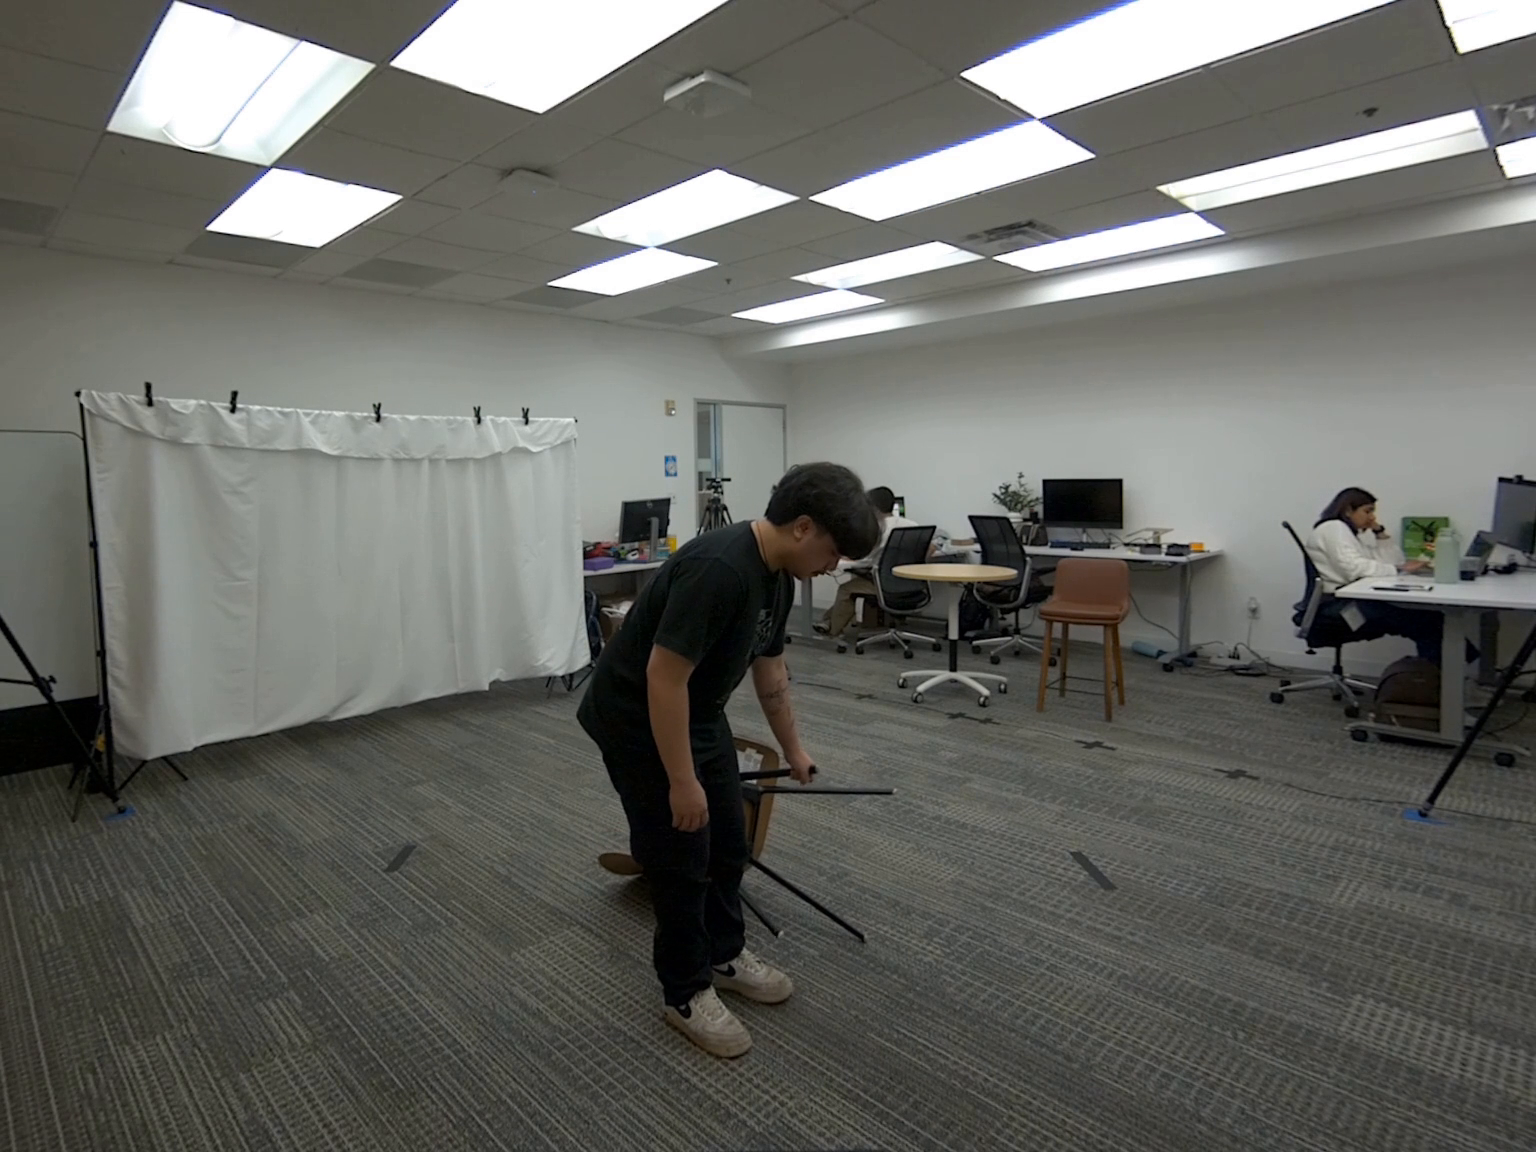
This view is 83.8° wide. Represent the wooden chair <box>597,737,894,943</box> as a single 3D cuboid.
[{"bbox_3d":[-0.106,0.793,2.763,0.901,0.529,0.460,-2,-21,40],"label":"wooden chair"}]
